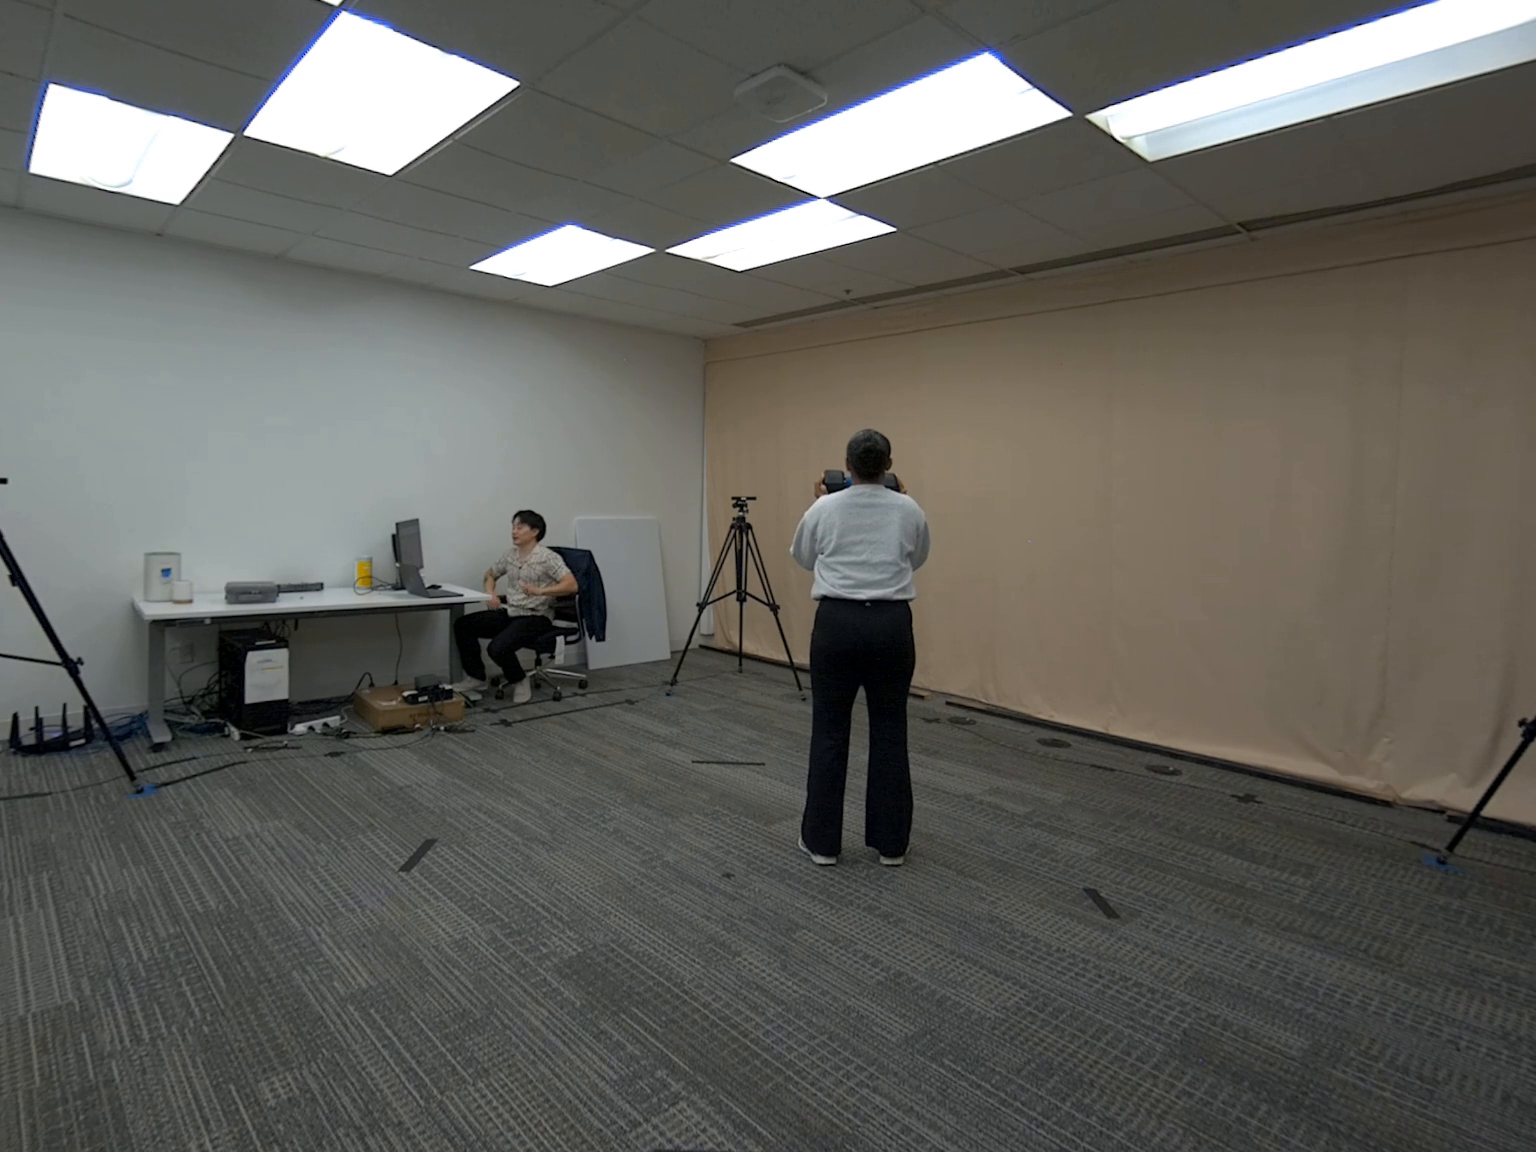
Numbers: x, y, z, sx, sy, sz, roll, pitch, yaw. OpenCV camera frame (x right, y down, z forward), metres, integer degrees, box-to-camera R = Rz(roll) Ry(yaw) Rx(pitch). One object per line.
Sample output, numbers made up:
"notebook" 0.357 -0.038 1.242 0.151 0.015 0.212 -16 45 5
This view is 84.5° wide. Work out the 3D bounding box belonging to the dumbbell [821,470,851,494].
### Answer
"dumbbell" 0.370 -0.368 3.423 0.293 0.120 0.111 3 38 -1
